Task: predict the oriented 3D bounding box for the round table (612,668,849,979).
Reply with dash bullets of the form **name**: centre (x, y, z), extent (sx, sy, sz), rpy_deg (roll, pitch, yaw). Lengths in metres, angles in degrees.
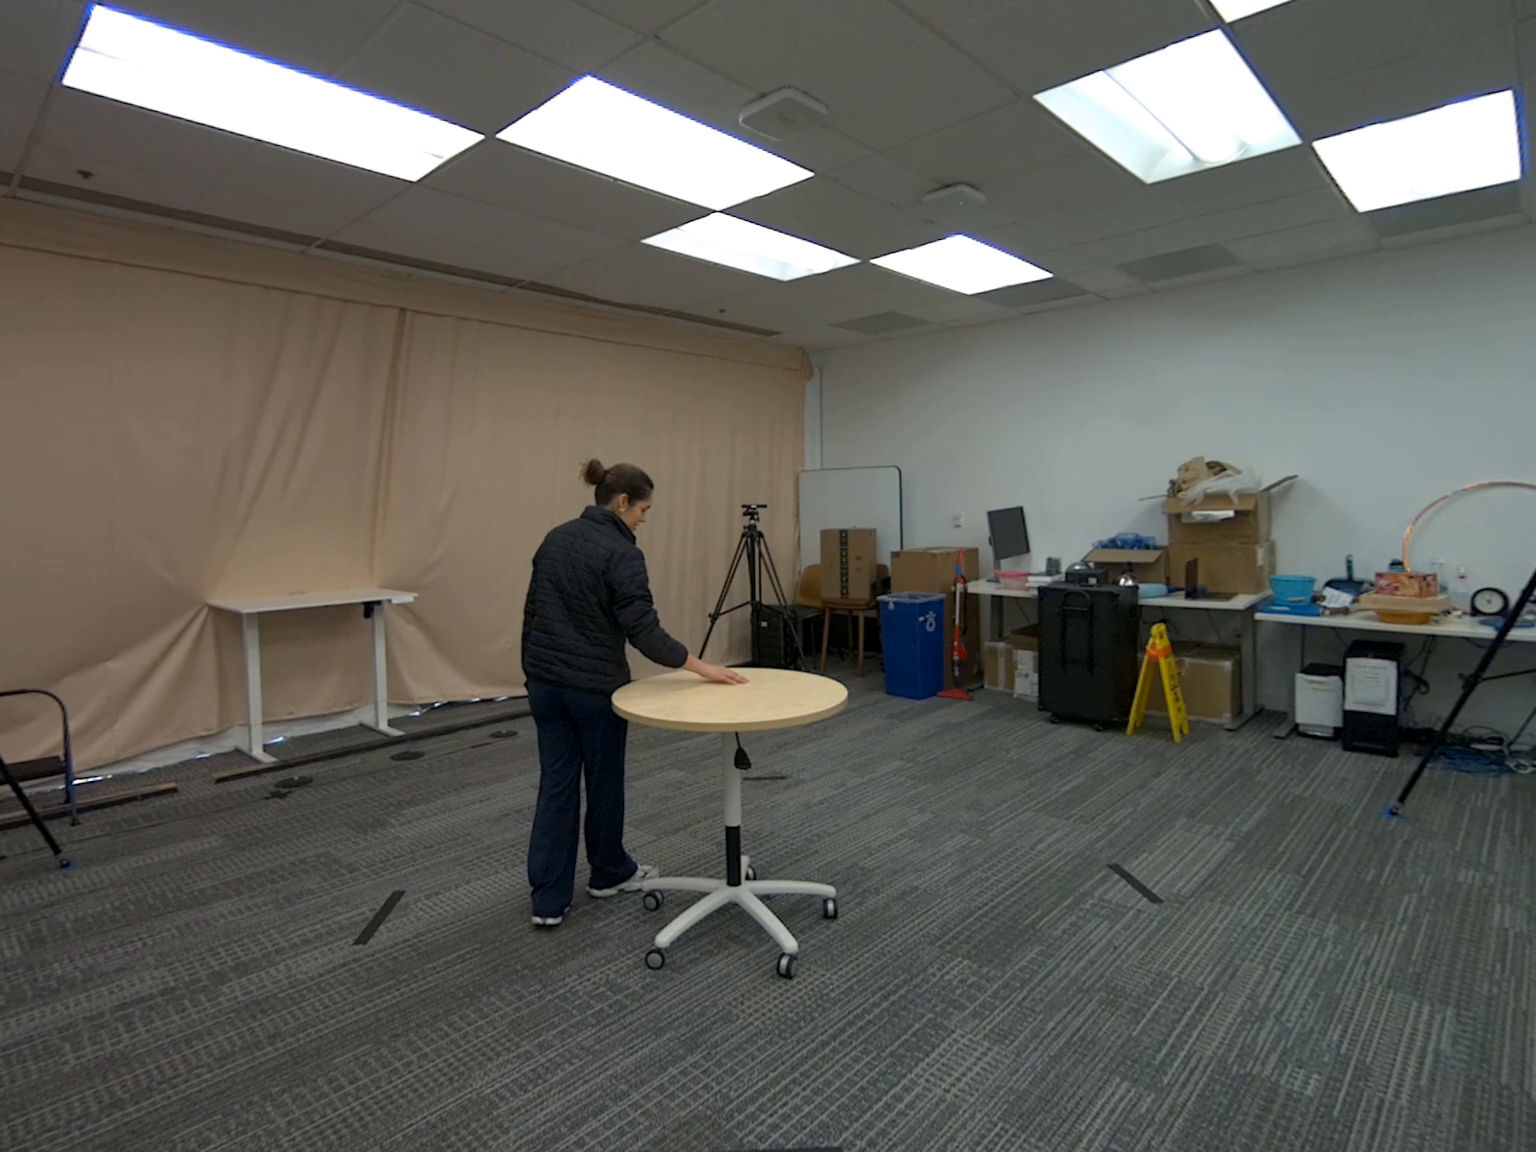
- **round table**: centre (-0.109, 0.766, 2.781), extent (0.784, 0.784, 0.788), rpy_deg (-1, 4, -2)
